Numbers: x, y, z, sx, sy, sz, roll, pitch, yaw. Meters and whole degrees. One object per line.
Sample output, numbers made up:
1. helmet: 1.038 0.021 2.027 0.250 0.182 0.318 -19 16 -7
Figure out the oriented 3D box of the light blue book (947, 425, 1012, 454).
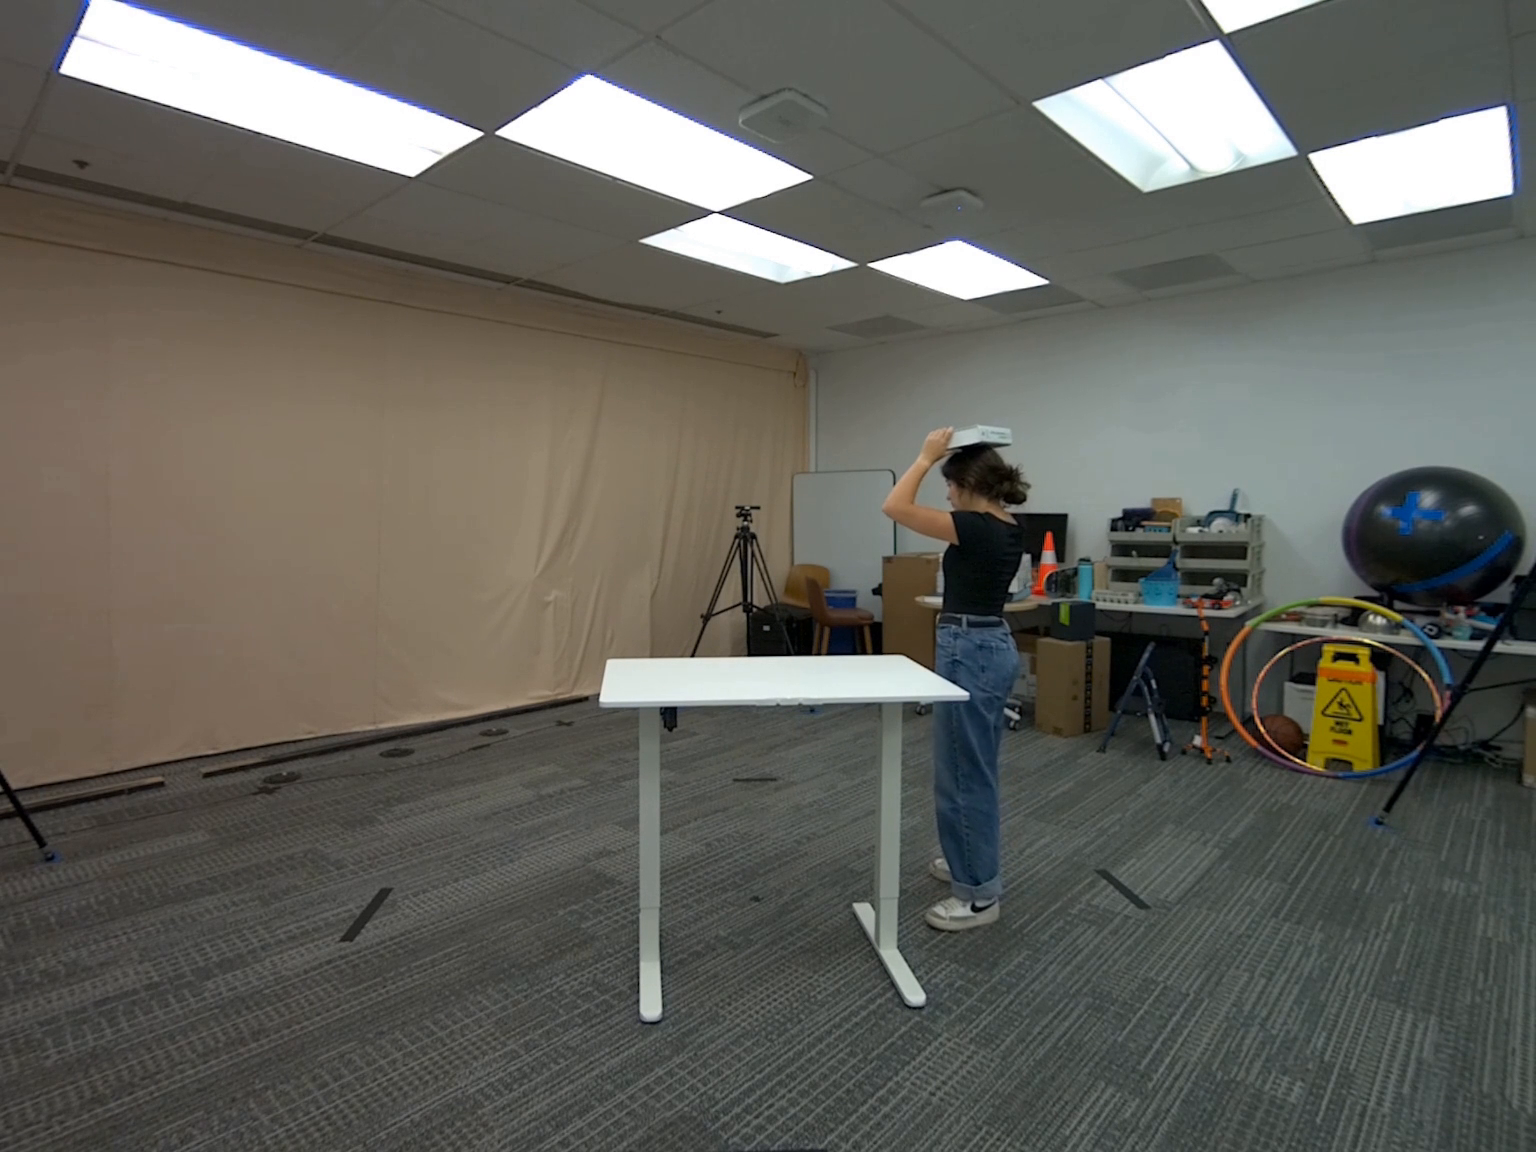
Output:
1. light blue book: 0.708 -0.467 2.903 0.197 0.059 0.253 -6 1 37
